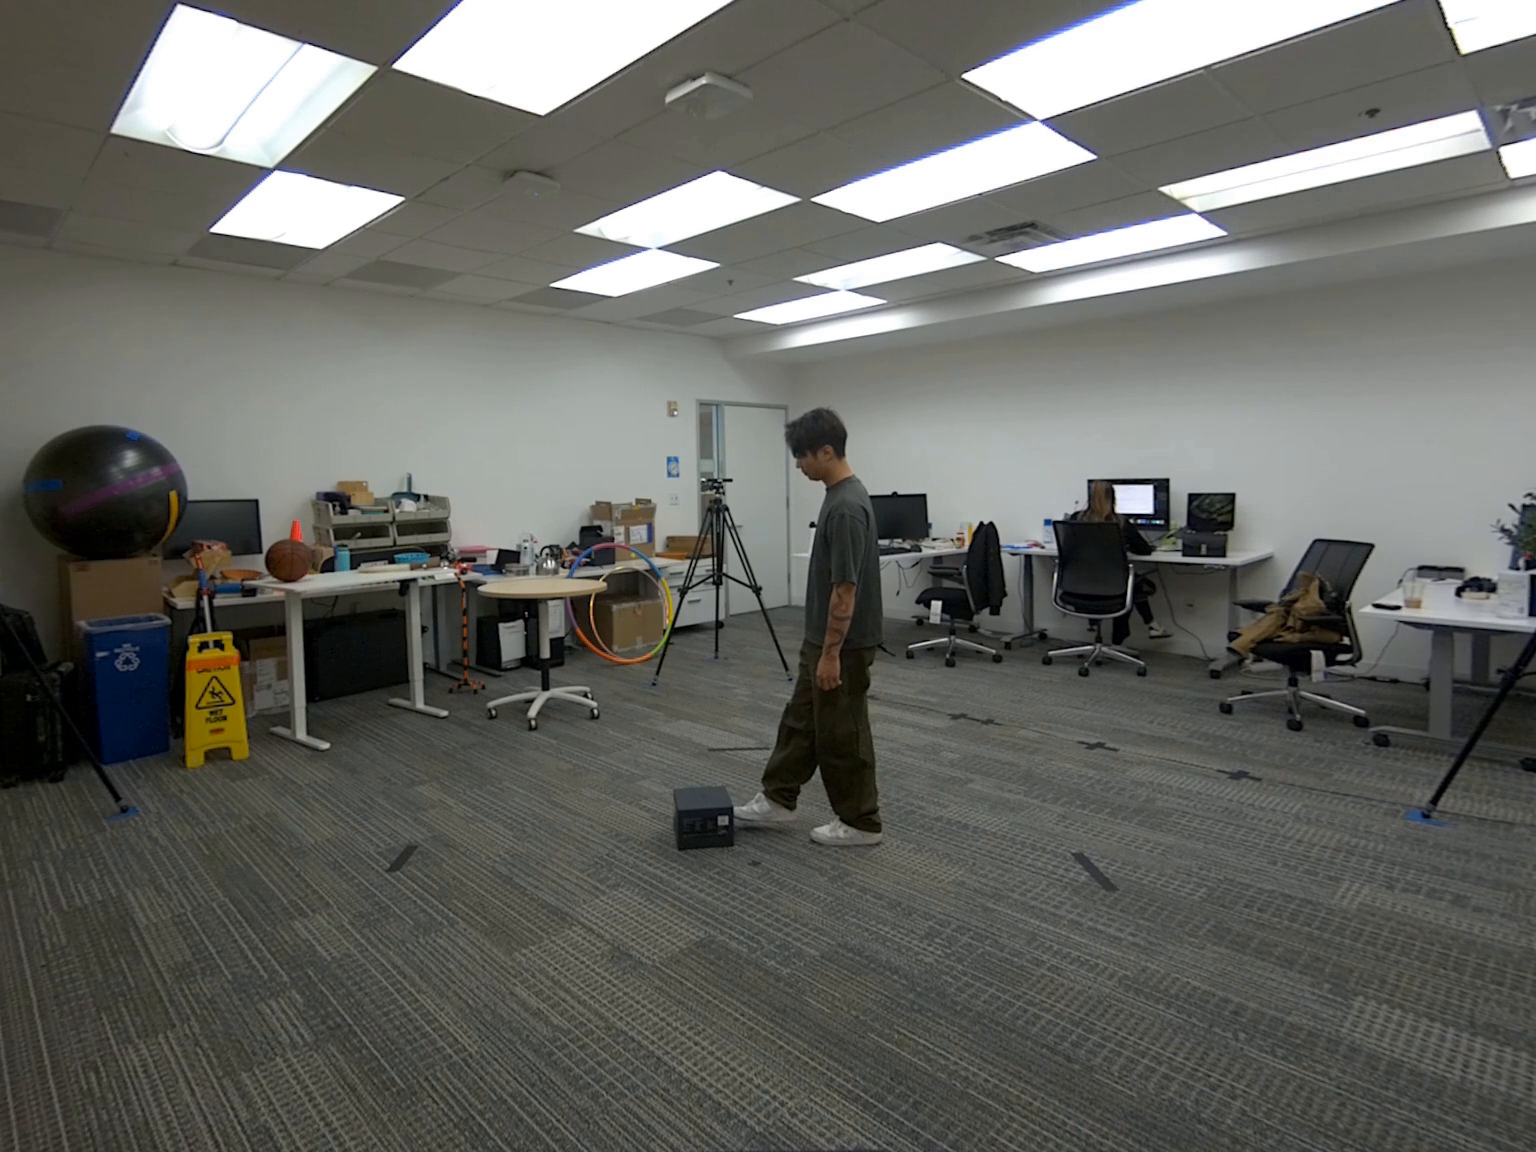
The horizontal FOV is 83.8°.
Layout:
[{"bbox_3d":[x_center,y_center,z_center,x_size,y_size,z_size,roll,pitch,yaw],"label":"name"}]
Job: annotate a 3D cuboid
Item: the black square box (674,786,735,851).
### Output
[{"bbox_3d":[-0.251,0.932,3.344,0.215,0.155,0.231,-2,5,-10],"label":"black square box"}]
